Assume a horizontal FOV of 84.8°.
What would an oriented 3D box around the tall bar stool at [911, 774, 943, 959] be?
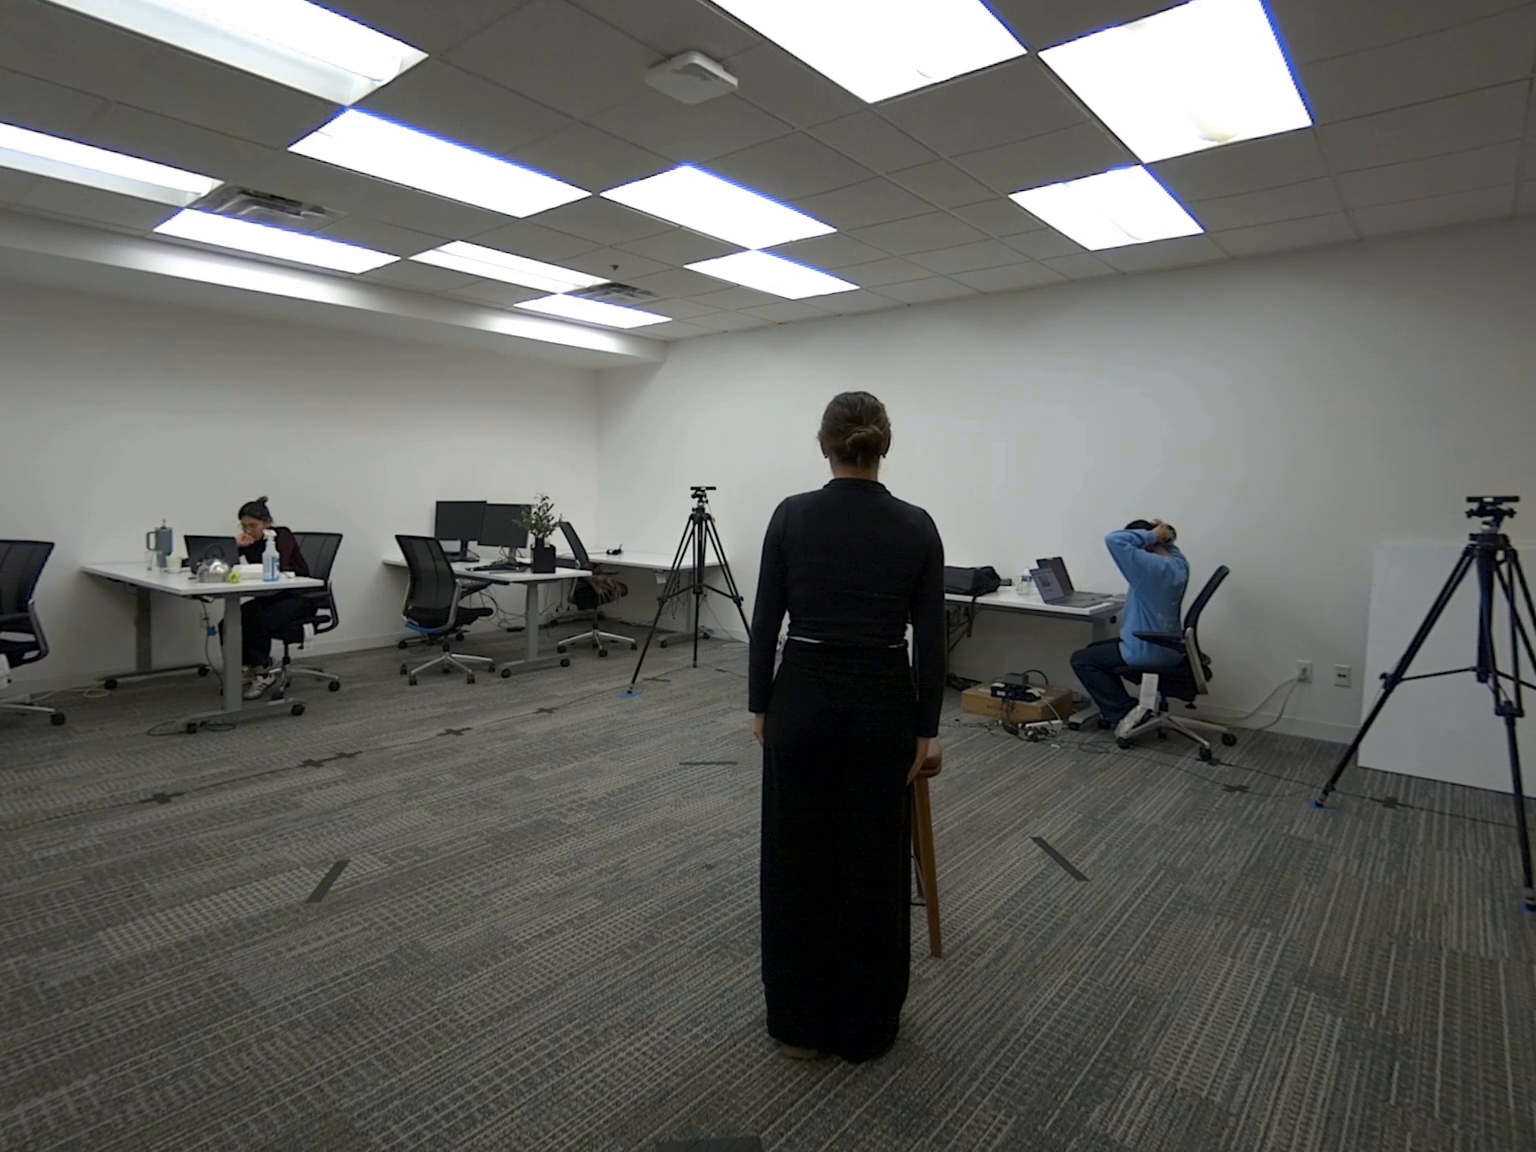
[{"bbox_3d":[0.312,0.678,2.744,0.471,0.887,0.454,1,3,6],"label":"tall bar stool"}]
